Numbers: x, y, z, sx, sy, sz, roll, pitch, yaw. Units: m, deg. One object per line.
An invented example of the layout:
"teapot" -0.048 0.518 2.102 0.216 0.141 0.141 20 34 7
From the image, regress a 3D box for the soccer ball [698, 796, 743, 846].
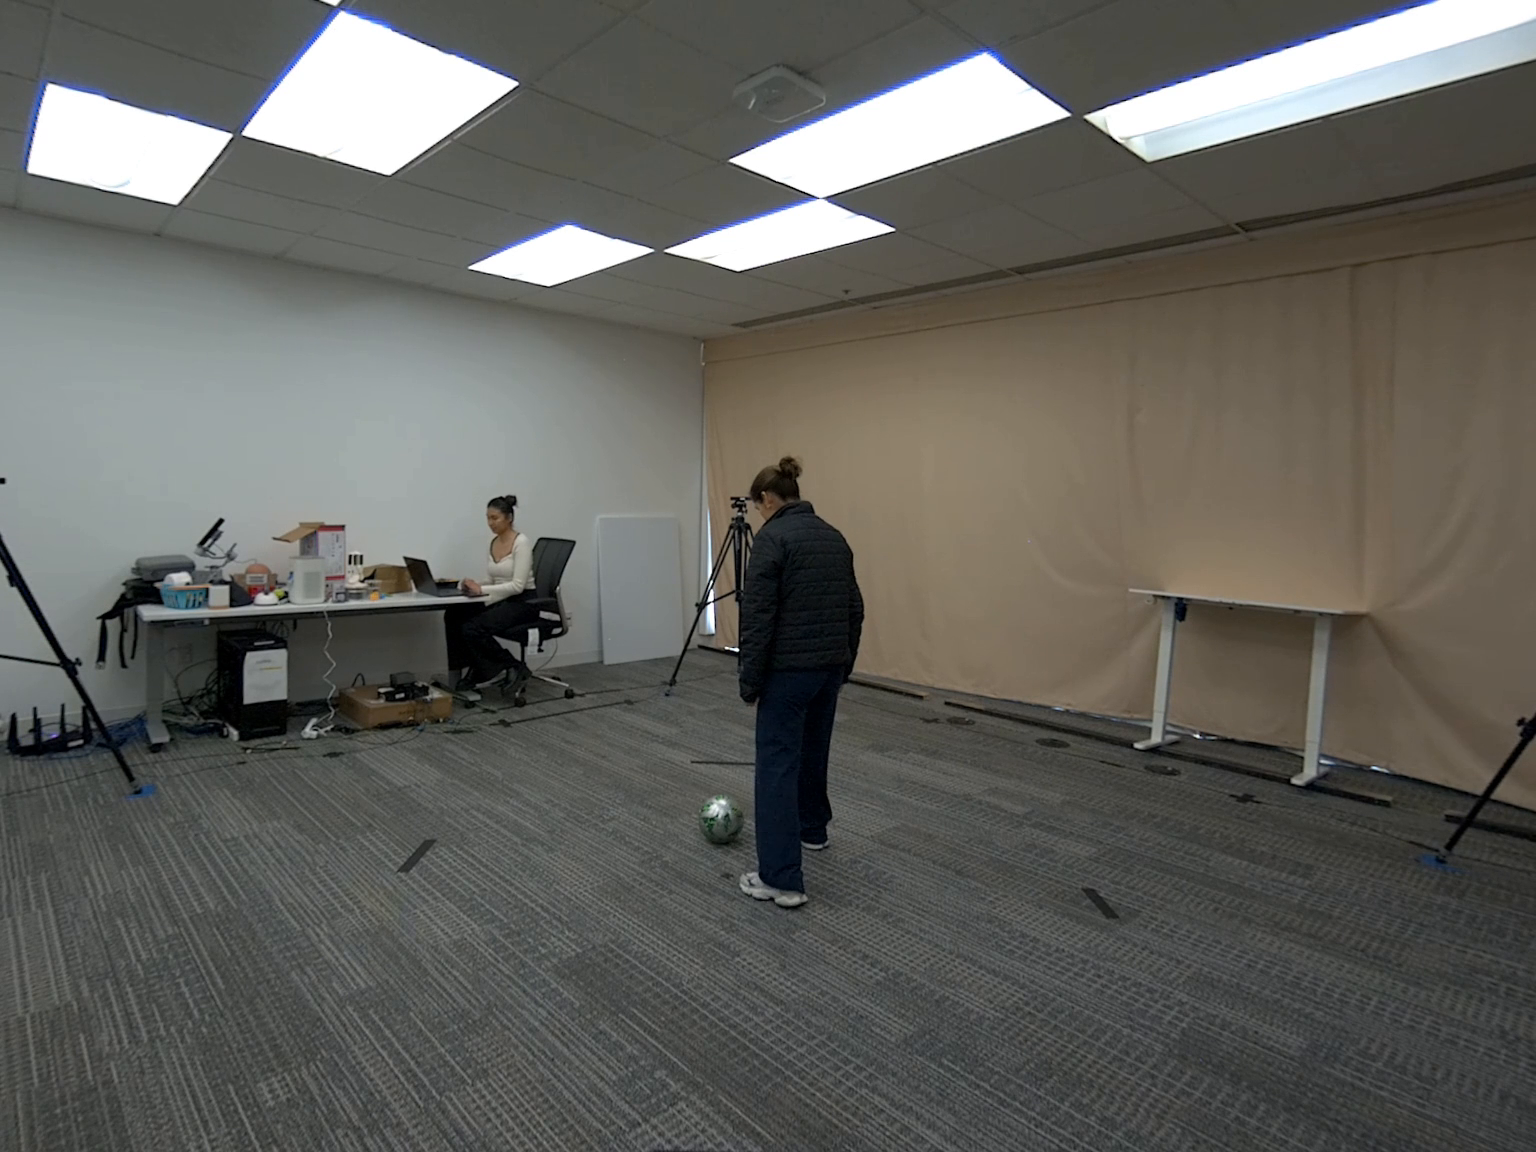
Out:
"soccer ball" -0.199 0.979 3.415 0.187 0.187 0.188 1 4 -1
